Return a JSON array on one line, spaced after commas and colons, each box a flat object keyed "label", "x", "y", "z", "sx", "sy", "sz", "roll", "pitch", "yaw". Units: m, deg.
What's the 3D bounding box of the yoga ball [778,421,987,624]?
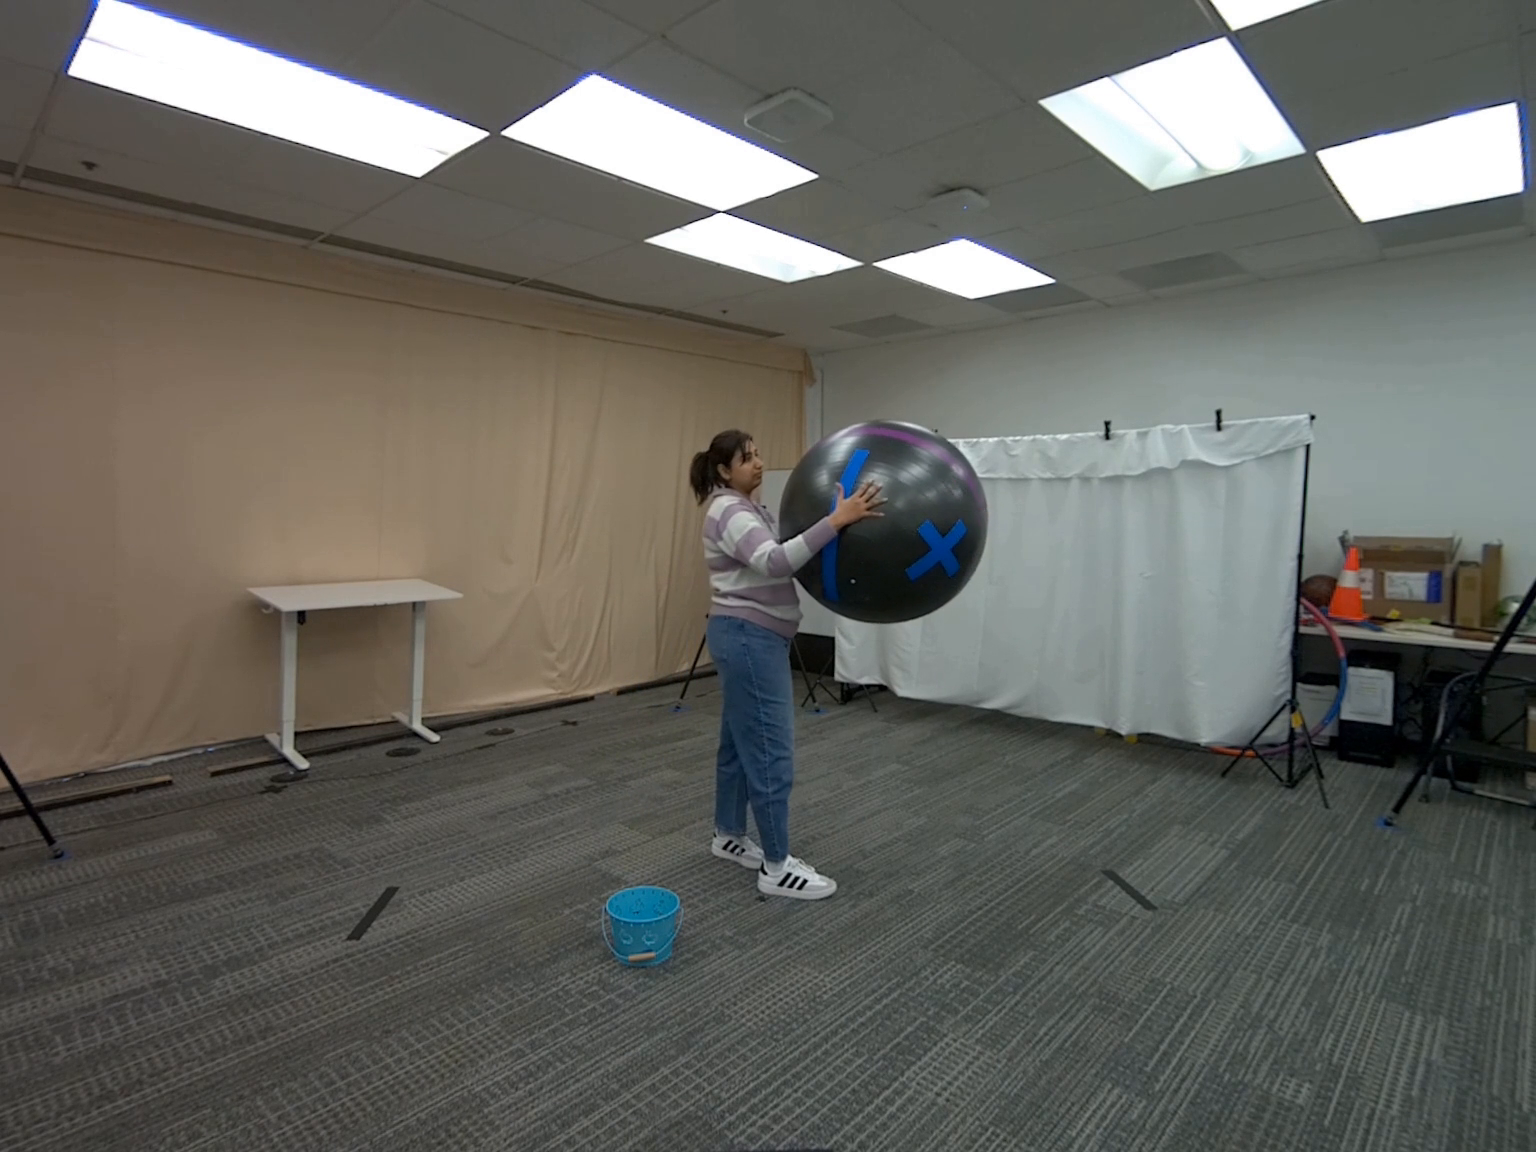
[{"label": "yoga ball", "x": 0.431, "y": -0.194, "z": 3.136, "sx": 0.757, "sy": 0.756, "sz": 0.761, "roll": 0, "pitch": 4, "yaw": -2}]
